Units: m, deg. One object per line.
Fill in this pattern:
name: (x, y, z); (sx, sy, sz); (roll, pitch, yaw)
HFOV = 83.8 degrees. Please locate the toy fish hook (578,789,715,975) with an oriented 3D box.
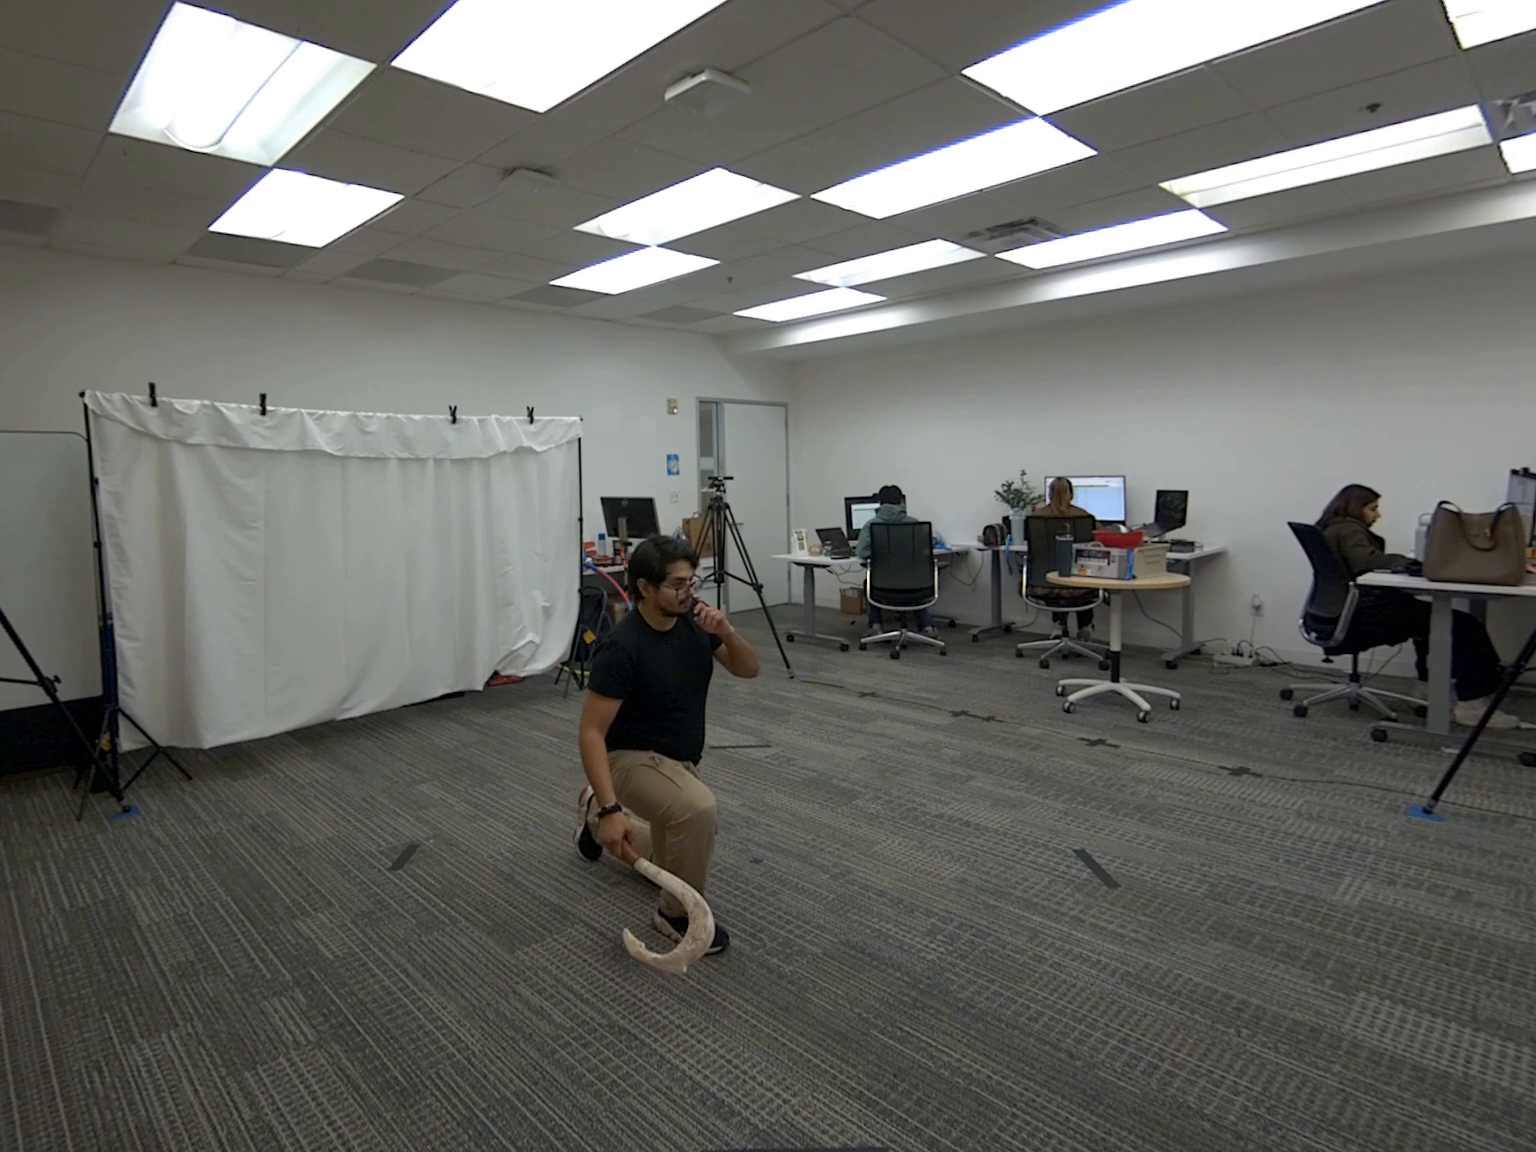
toy fish hook: (-0.358, 0.856, 2.342); (0.223, 0.047, 0.525); (-35, 51, -26)
